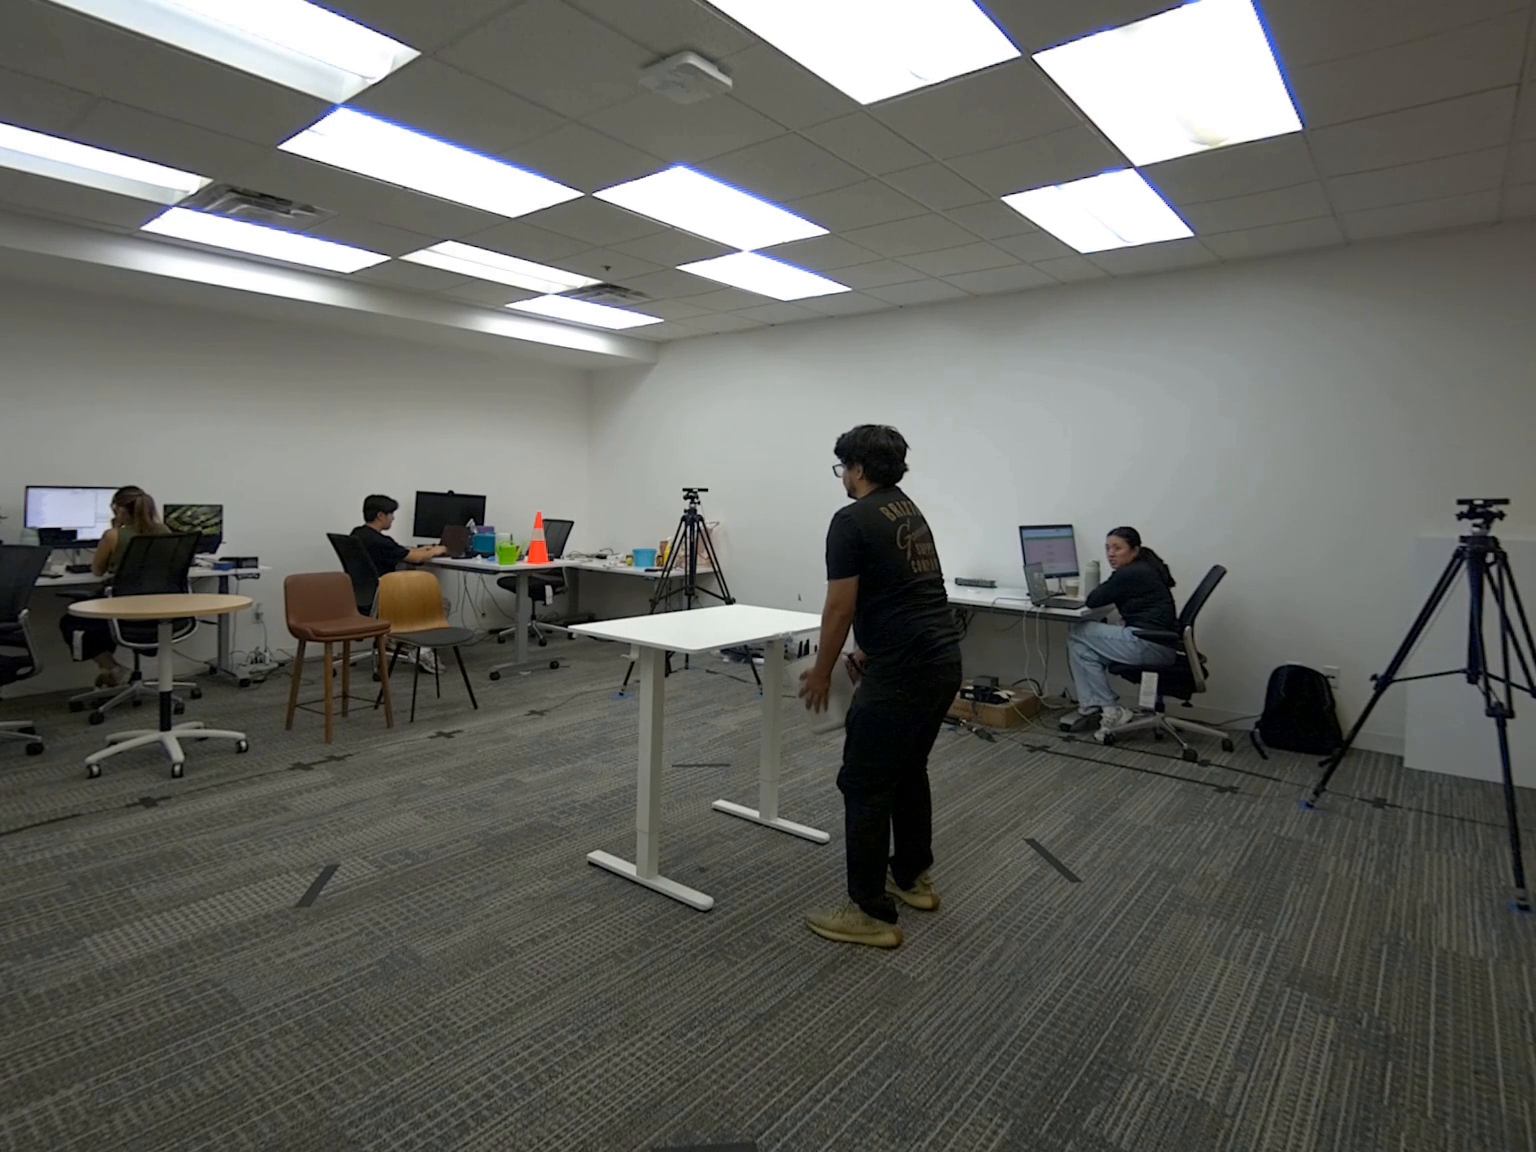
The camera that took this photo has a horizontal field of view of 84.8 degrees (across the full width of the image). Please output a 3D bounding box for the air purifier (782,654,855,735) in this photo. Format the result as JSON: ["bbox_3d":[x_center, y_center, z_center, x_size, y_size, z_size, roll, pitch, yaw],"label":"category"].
[{"bbox_3d":[0.187,0.402,2.956,0.174,0.268,0.166,-25,-10,34],"label":"air purifier"}]
